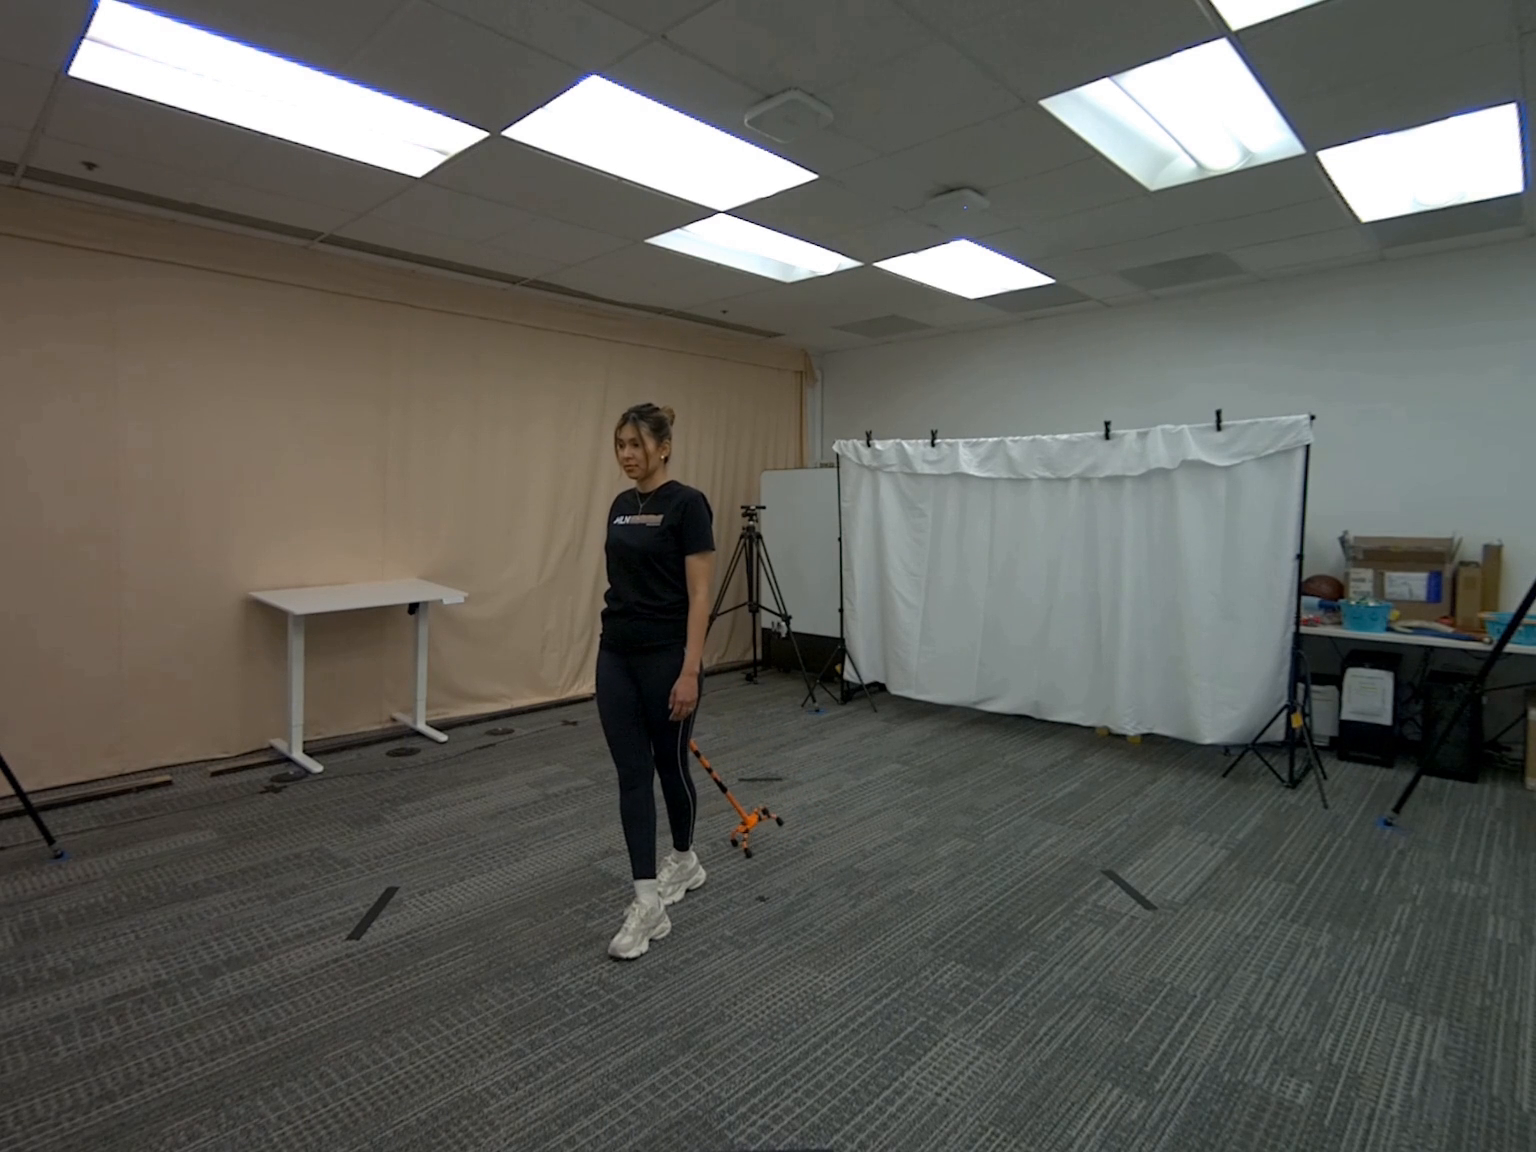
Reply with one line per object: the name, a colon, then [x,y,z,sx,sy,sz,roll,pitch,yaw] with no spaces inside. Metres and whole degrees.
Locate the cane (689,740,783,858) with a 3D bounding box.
cane: [-0.268,0.692,3.290,0.205,0.892,0.155,-39,17,-19]
